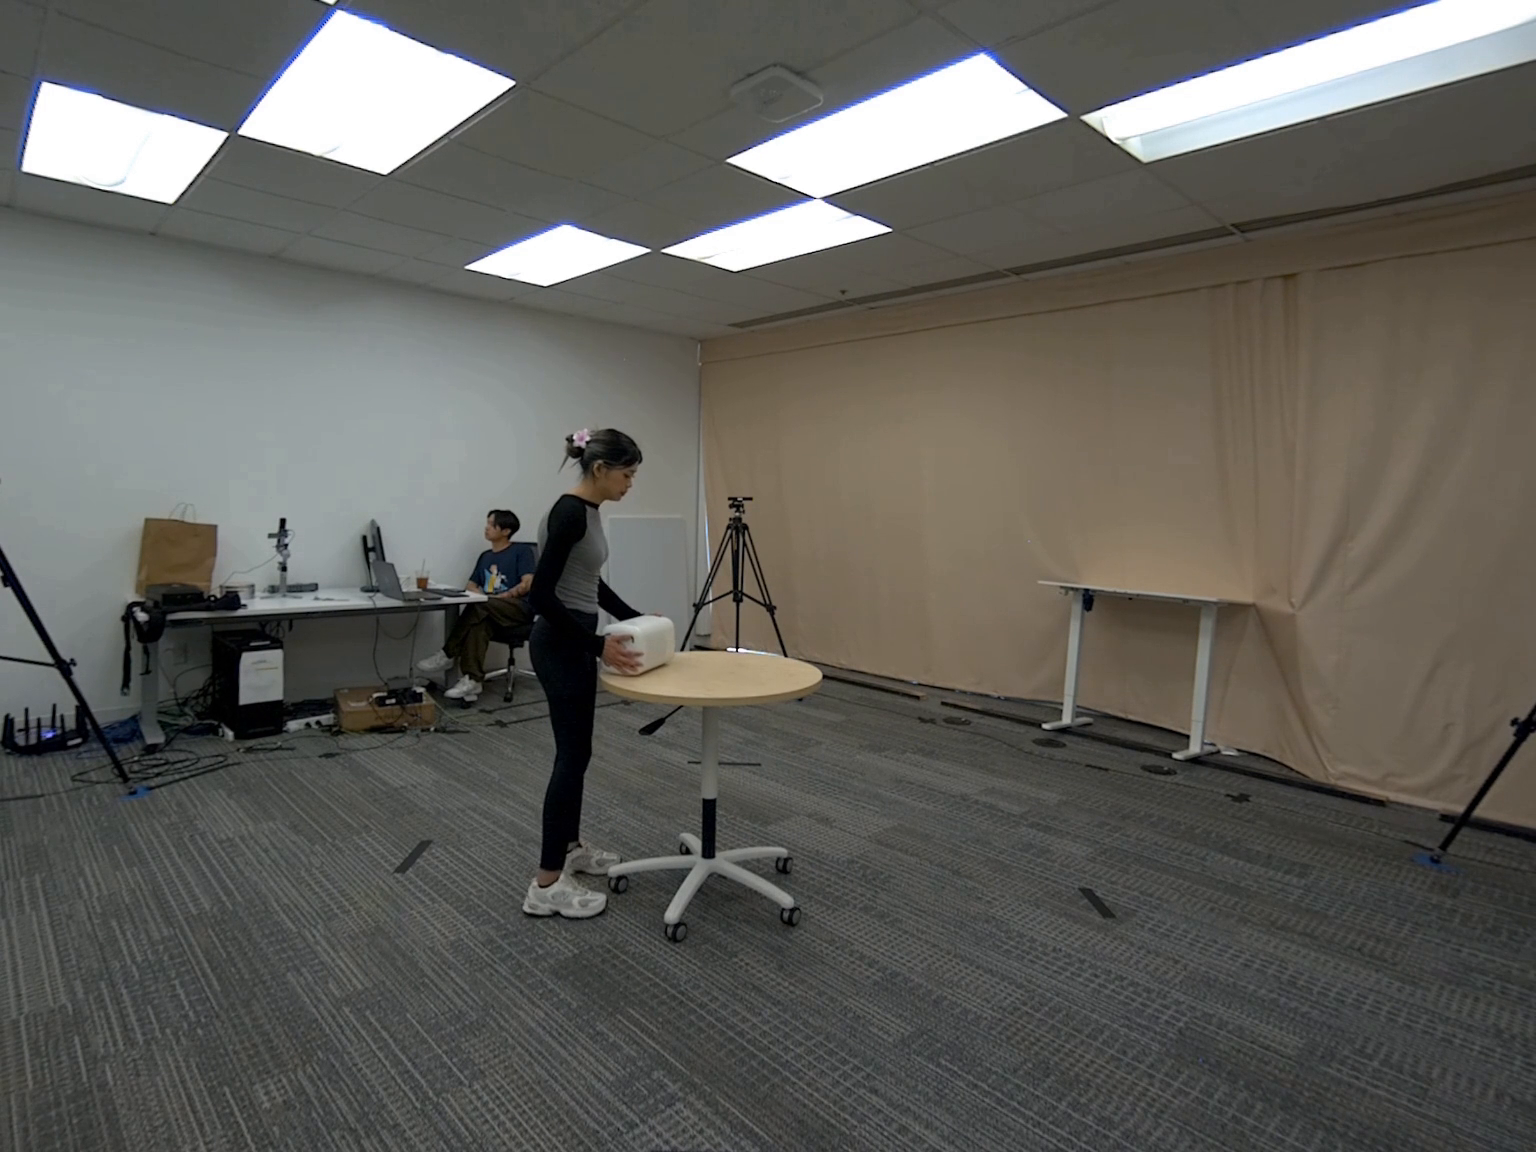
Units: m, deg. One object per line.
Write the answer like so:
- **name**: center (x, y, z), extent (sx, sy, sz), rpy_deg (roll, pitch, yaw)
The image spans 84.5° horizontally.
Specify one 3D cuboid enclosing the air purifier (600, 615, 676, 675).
- **air purifier**: center (-0.463, 0.239, 2.918), extent (0.174, 0.171, 0.261), rpy_deg (3, 4, 20)
